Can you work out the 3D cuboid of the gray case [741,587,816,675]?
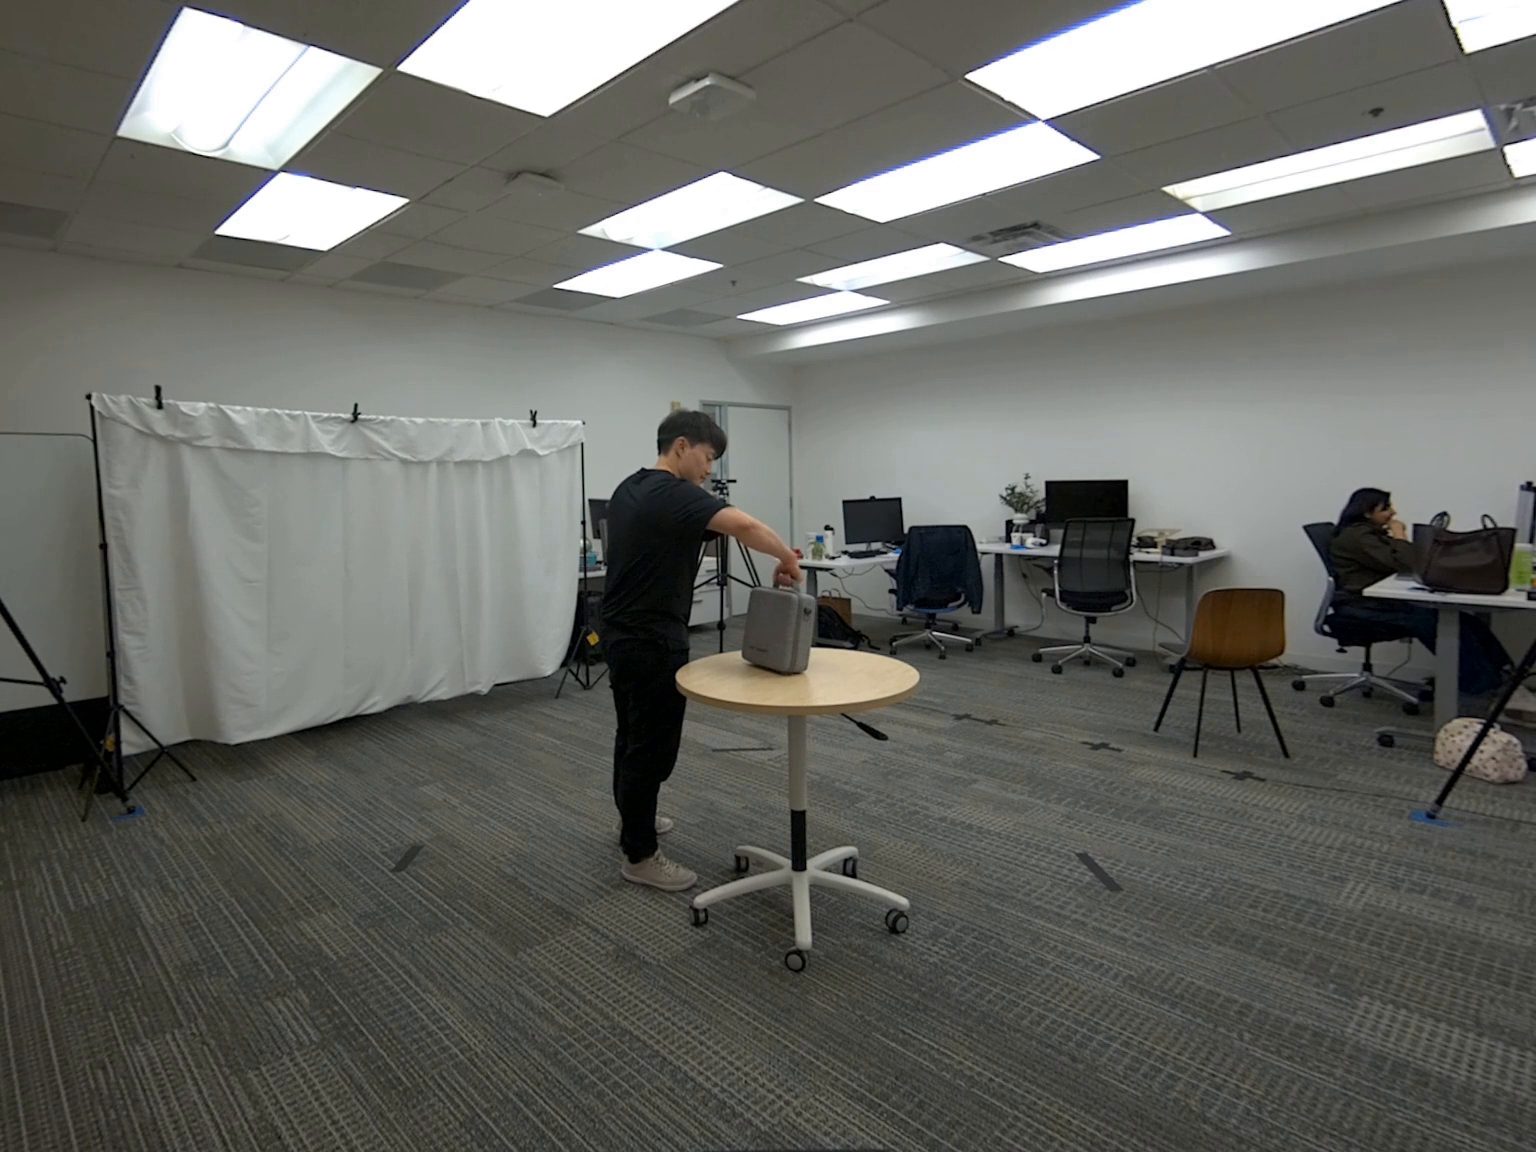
[{"bbox_3d":[0.030,0.167,2.775,0.101,0.261,0.264,9,-1,-34],"label":"gray case"}]
